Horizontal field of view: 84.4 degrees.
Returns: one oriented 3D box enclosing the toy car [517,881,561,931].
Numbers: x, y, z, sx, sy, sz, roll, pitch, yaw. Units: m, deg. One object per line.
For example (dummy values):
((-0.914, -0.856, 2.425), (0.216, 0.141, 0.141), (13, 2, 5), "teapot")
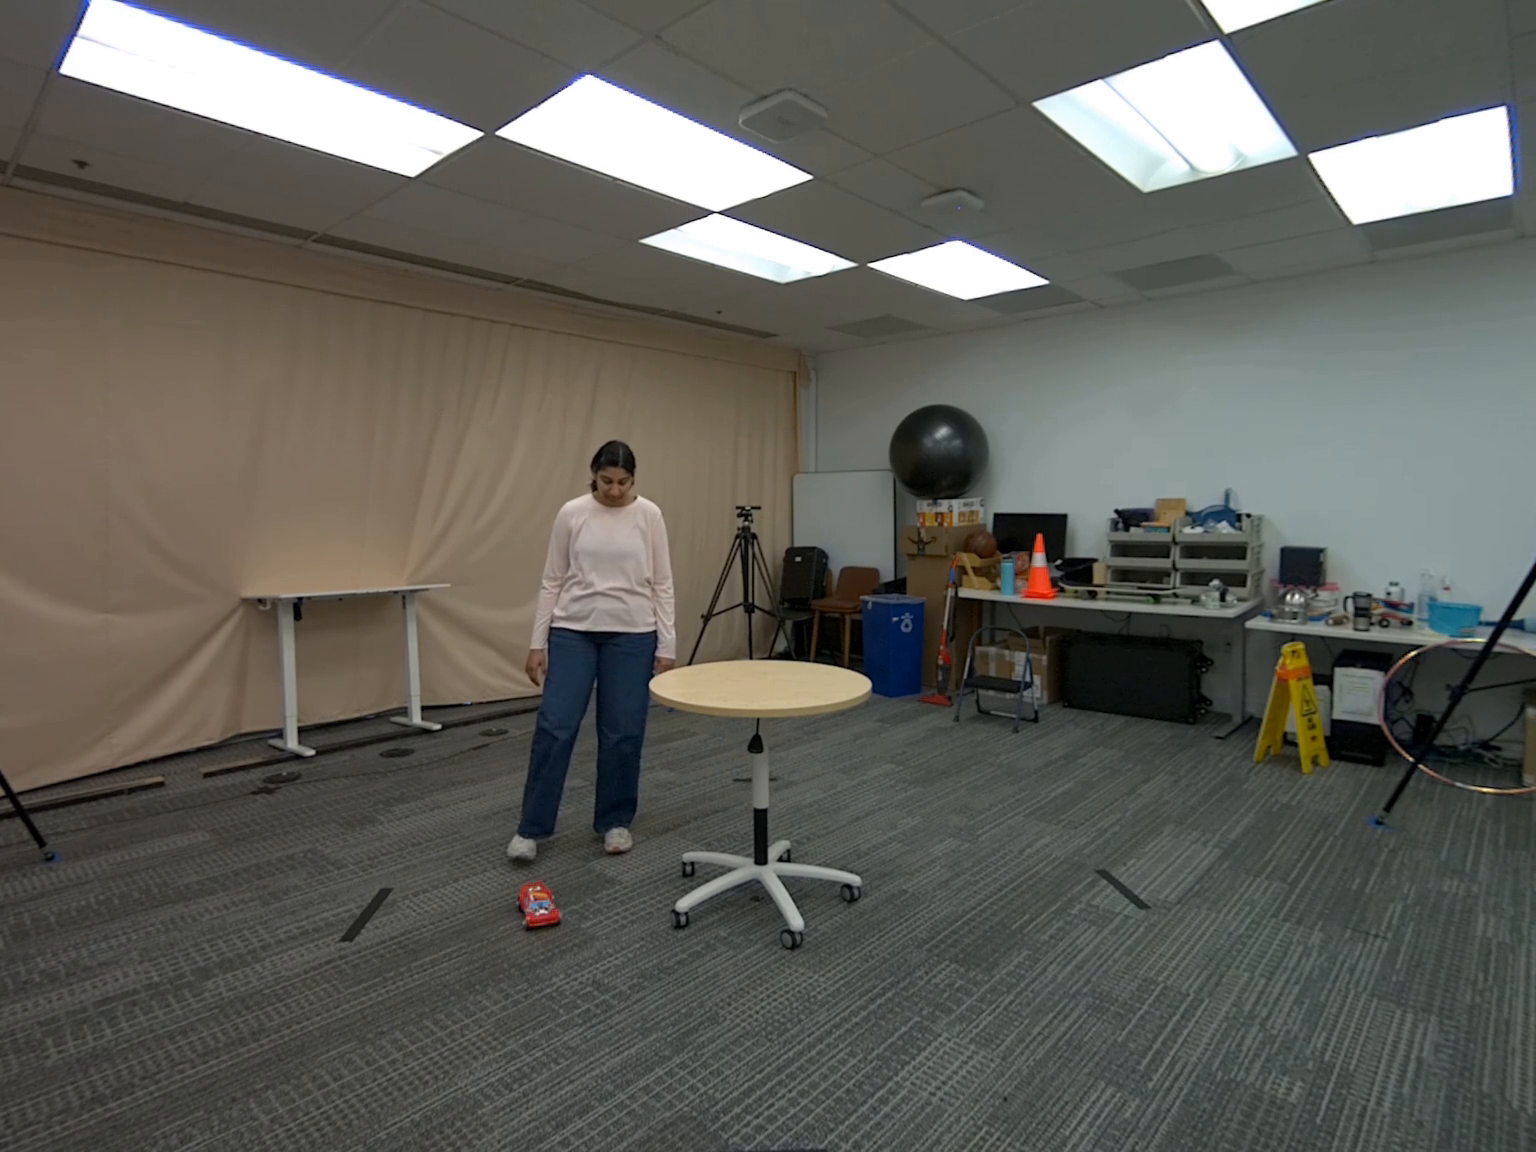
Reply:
((-0.793, 1.124, 2.881), (0.127, 0.082, 0.262), (-2, 15, -23), "toy car")
